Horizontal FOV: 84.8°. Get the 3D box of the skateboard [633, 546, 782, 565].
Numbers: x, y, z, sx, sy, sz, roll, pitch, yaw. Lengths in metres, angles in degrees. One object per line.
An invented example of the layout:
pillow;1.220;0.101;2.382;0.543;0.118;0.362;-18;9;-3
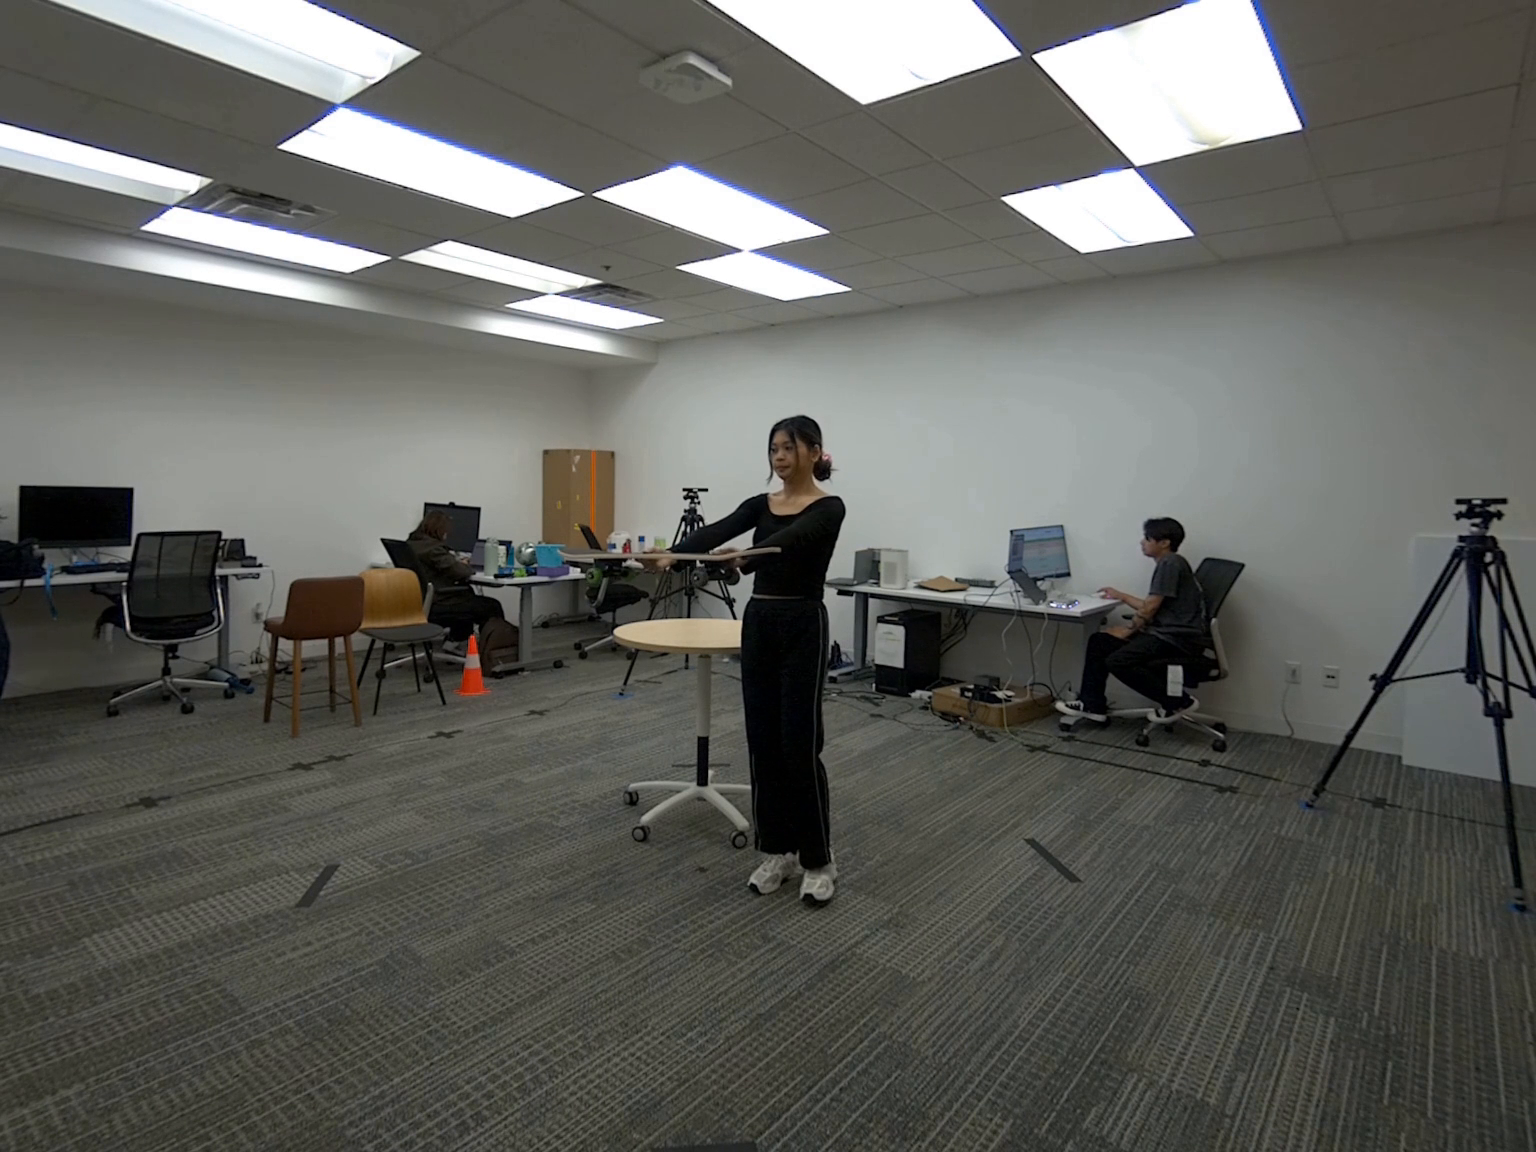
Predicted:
skateboard;-0.326;-0.029;2.509;0.810;0.110;0.188;1;4;36
